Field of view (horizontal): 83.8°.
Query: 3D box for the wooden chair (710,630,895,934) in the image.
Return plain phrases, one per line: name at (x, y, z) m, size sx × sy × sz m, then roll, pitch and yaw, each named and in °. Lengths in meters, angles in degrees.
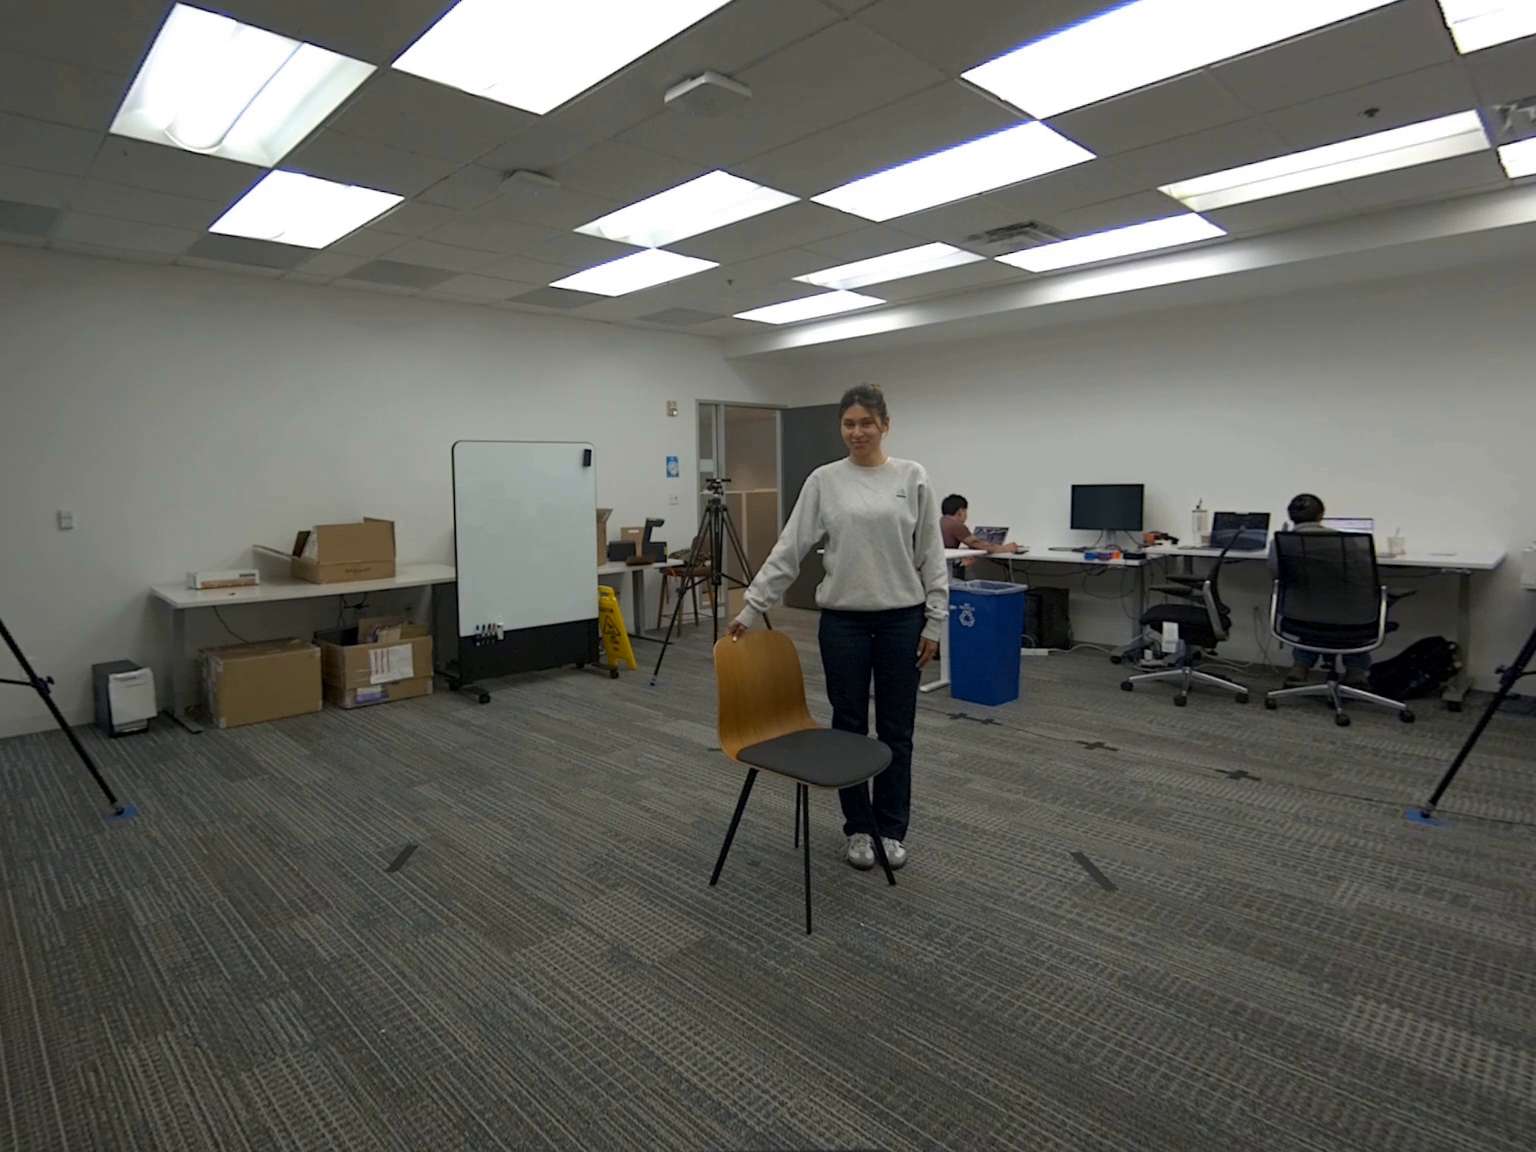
wooden chair at (0.113, 0.640, 2.891) m, size 0.465 × 0.877 × 0.538 m, roll -4°, pitch 1°, yaw -45°
